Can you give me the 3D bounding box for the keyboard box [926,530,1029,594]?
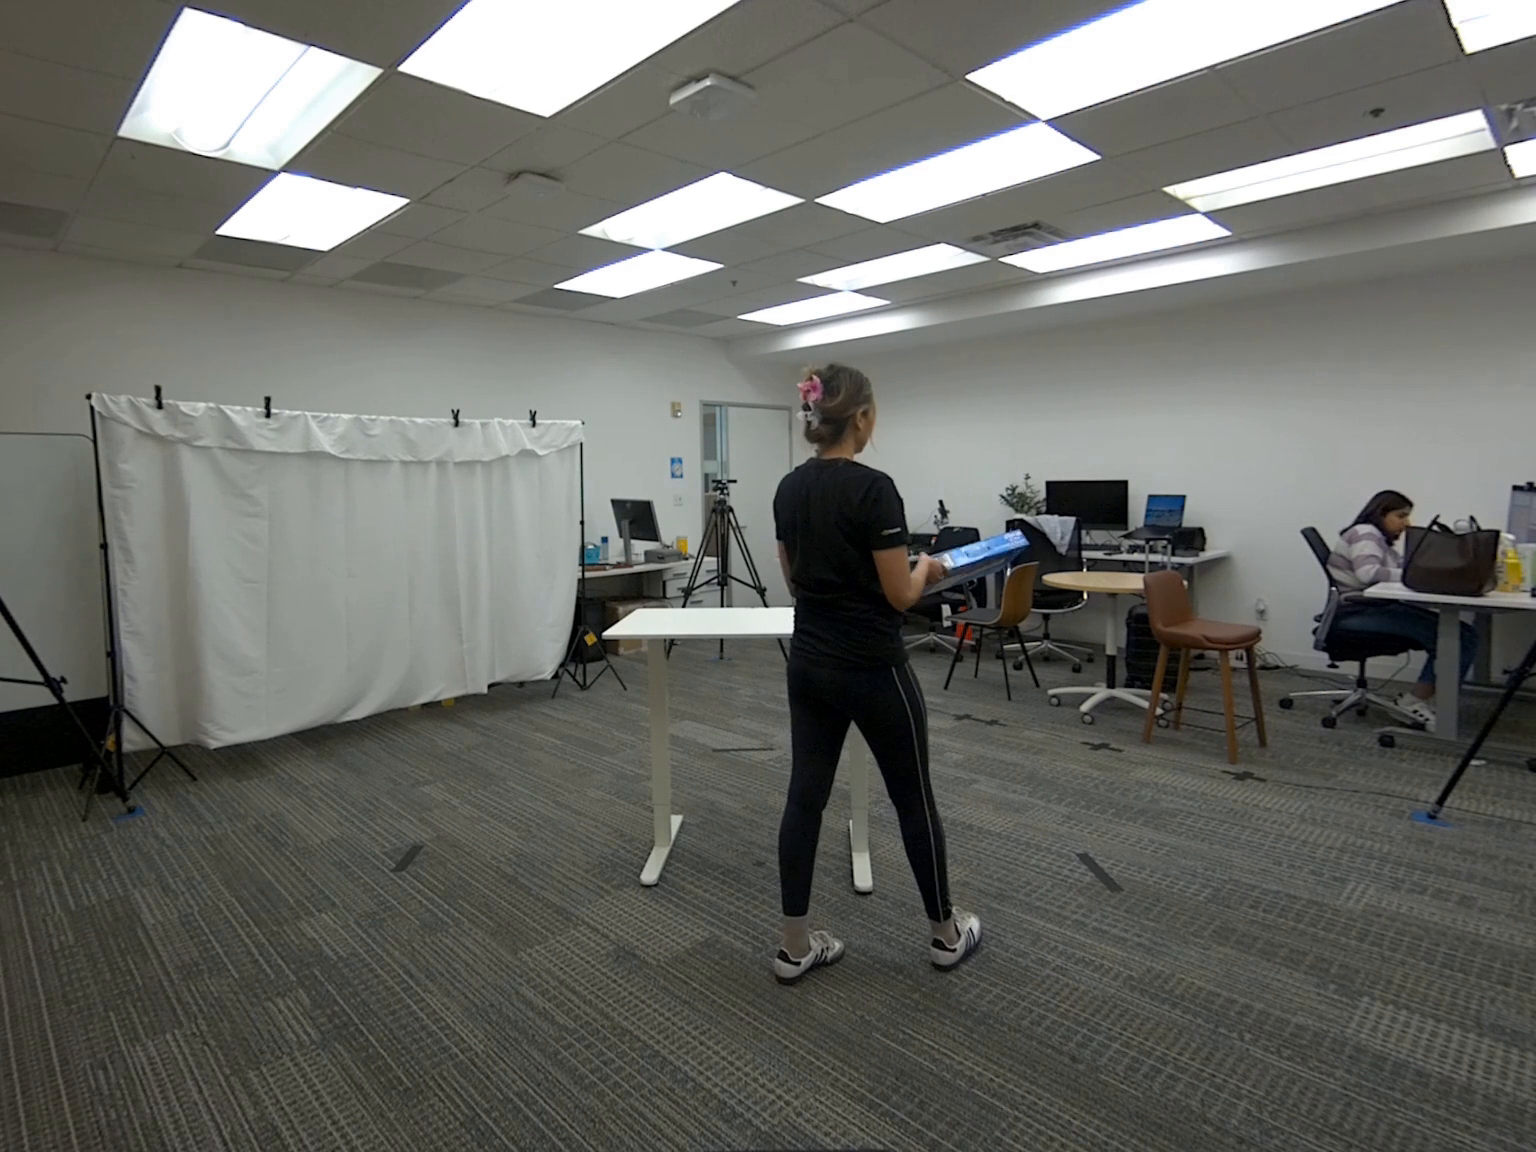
[{"bbox_3d":[0.622,-0.032,2.698,0.429,0.061,0.174,-16,-25,-31],"label":"keyboard box"}]
